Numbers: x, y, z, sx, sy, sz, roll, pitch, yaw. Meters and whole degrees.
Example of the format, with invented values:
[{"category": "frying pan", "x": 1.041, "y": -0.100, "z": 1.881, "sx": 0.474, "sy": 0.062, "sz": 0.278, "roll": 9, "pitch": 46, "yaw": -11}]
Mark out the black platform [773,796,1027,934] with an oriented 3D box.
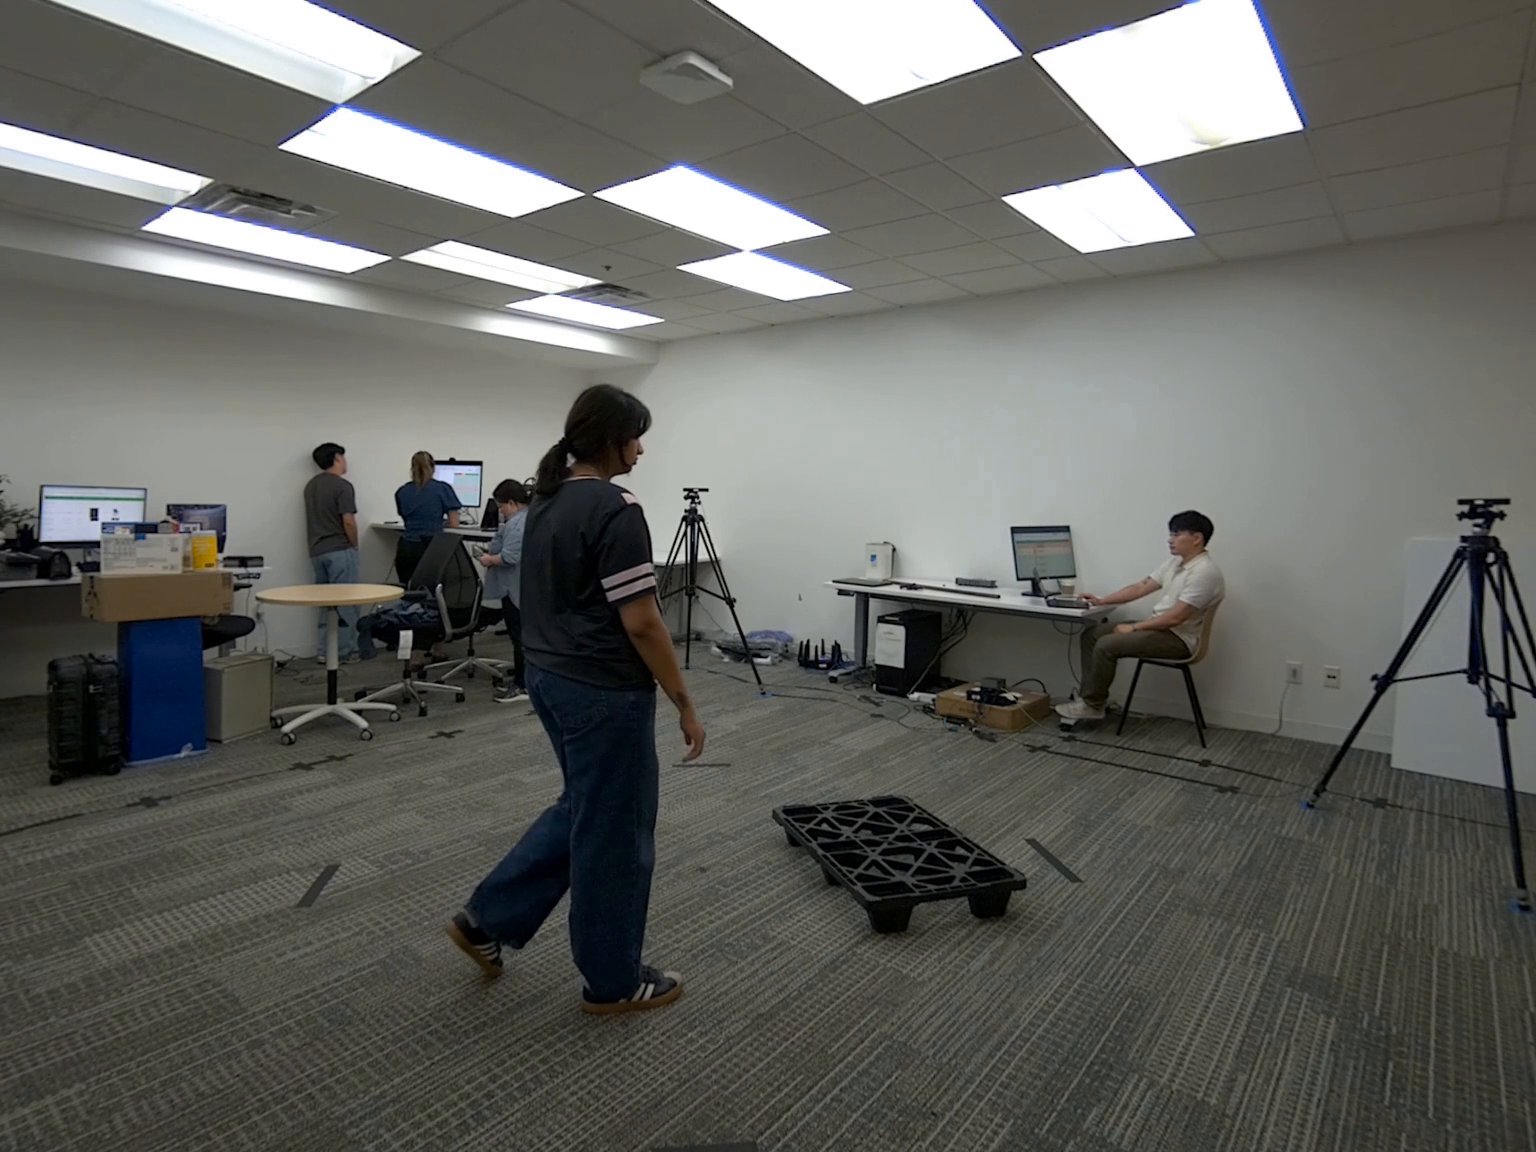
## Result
[{"category": "black platform", "x": 0.426, "y": 1.018, "z": 3.085, "sx": 0.593, "sy": 0.143, "sz": 0.825, "roll": -1, "pitch": 6, "yaw": -20}]
